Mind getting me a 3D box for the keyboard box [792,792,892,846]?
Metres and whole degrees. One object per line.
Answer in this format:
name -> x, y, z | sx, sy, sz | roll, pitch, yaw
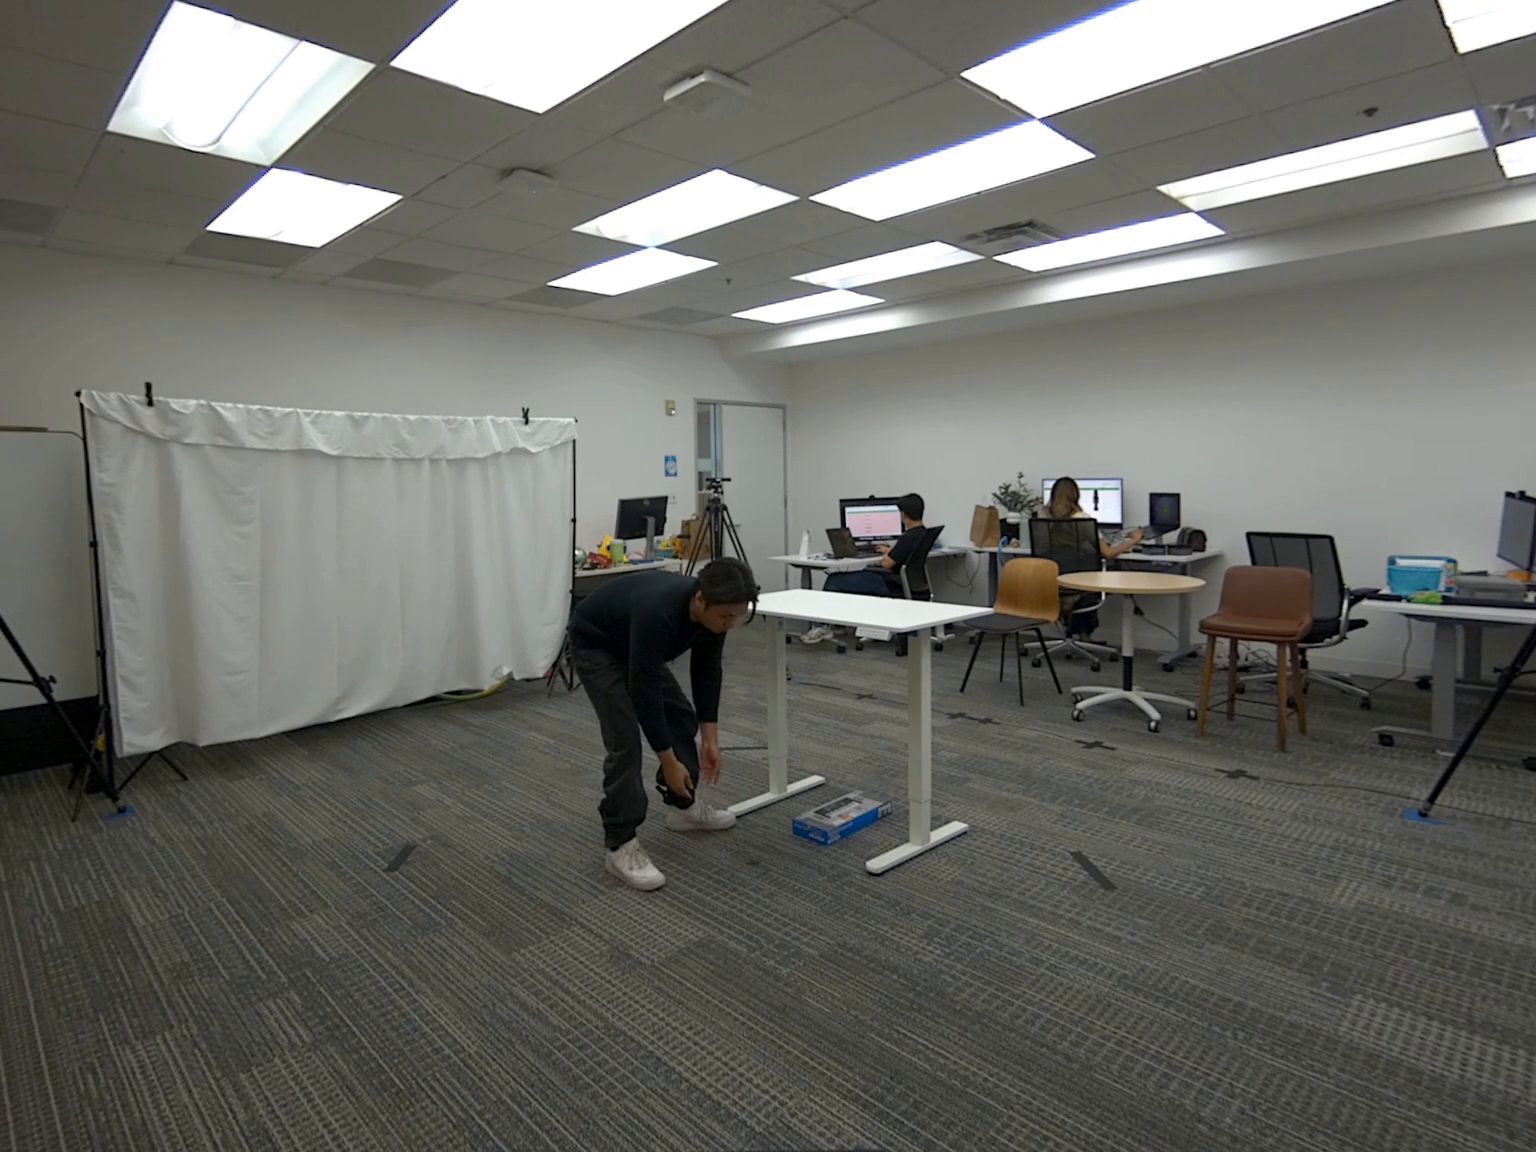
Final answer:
keyboard box -> 0.308, 0.968, 3.445 | 0.181, 0.059, 0.426 | 5, 9, 43
